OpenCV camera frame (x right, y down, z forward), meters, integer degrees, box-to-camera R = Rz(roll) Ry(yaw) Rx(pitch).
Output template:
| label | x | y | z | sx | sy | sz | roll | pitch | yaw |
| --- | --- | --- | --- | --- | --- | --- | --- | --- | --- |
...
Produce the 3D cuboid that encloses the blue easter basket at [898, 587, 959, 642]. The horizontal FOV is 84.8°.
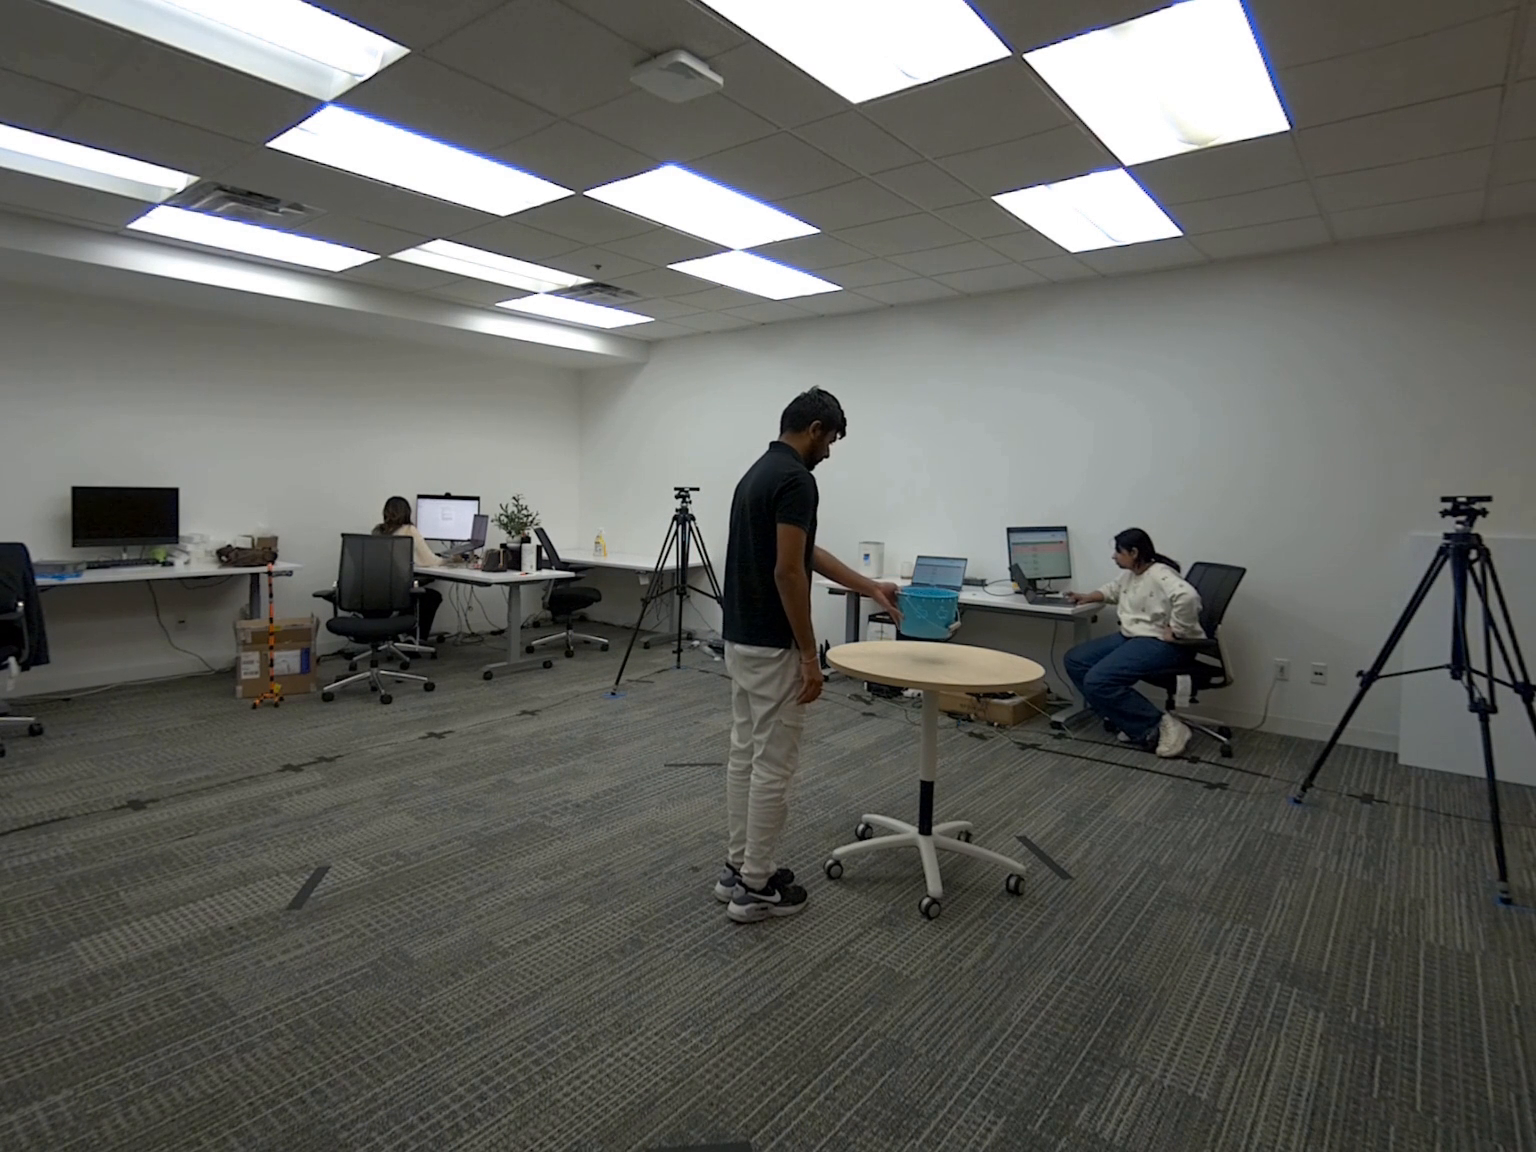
| label | x | y | z | sx | sy | sz | roll | pitch | yaw |
| --- | --- | --- | --- | --- | --- | --- | --- | --- | --- |
| blue easter basket | 0.573 | 0.134 | 3.072 | 0.243 | 0.155 | 0.244 | 0 | 4 | -2 |
